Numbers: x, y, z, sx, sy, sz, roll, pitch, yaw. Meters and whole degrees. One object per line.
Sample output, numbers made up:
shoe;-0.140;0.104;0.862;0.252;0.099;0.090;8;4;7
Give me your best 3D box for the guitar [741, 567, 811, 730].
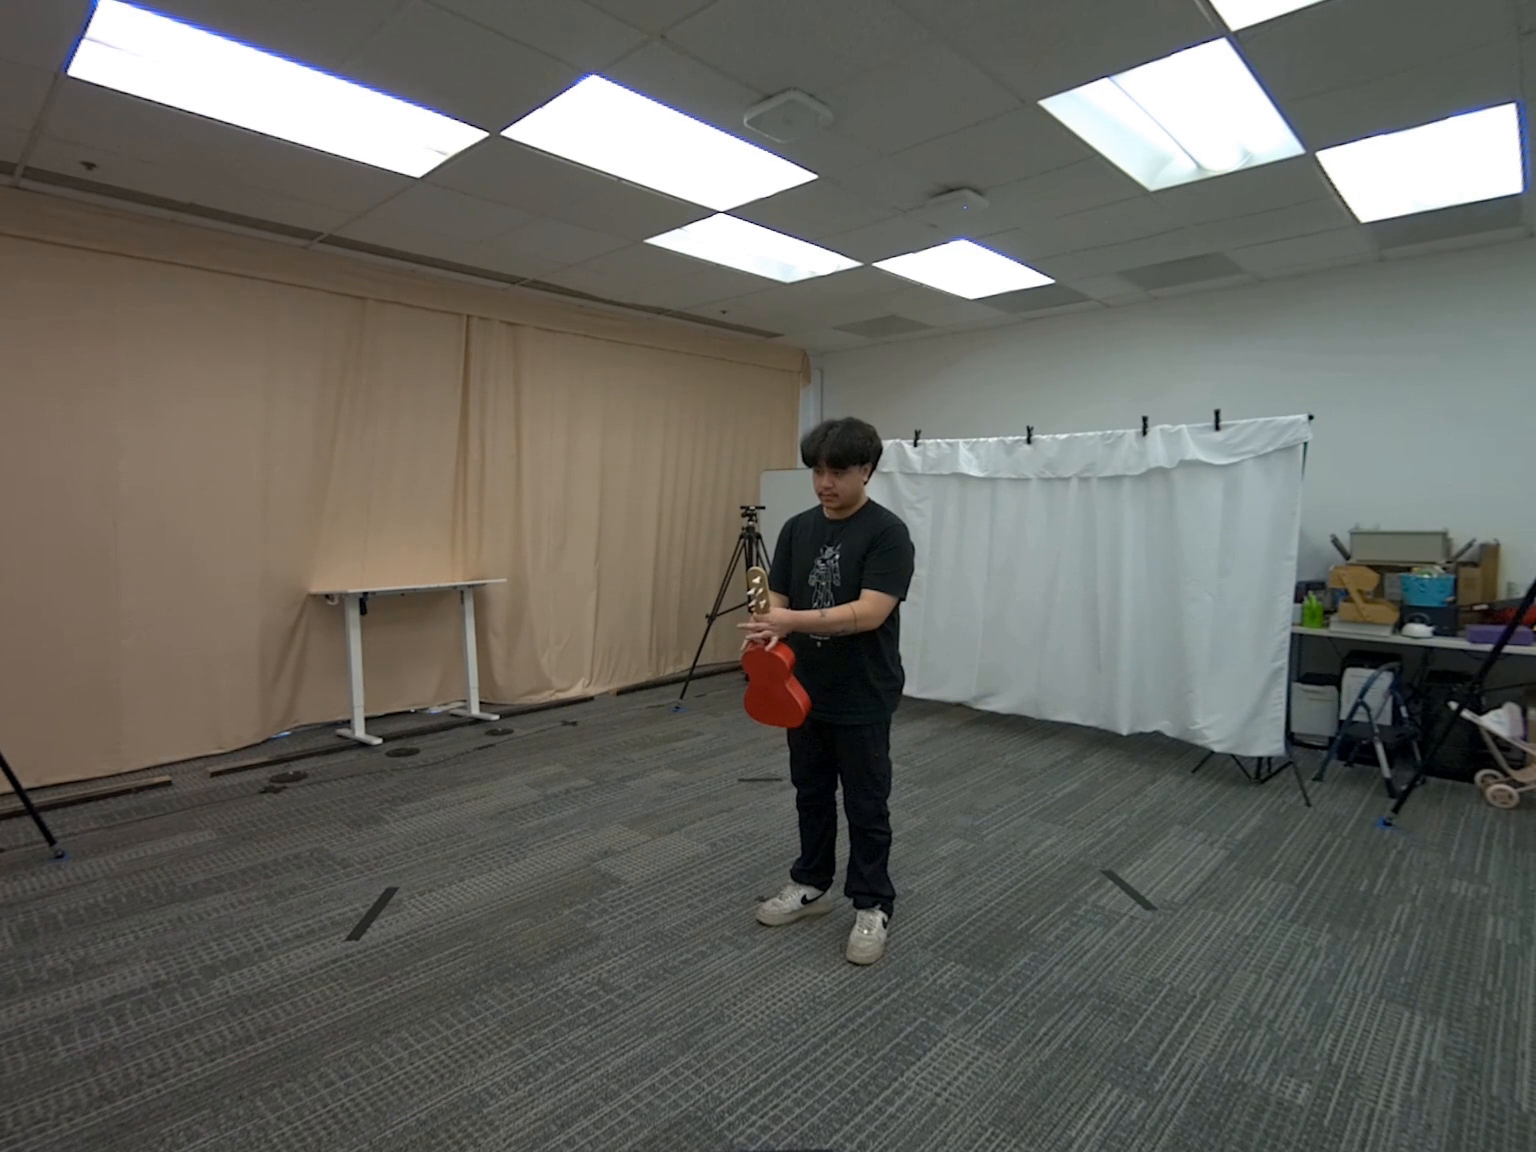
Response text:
guitar;-0.012;0.212;2.450;0.198;0.490;0.070;-5;22;33
